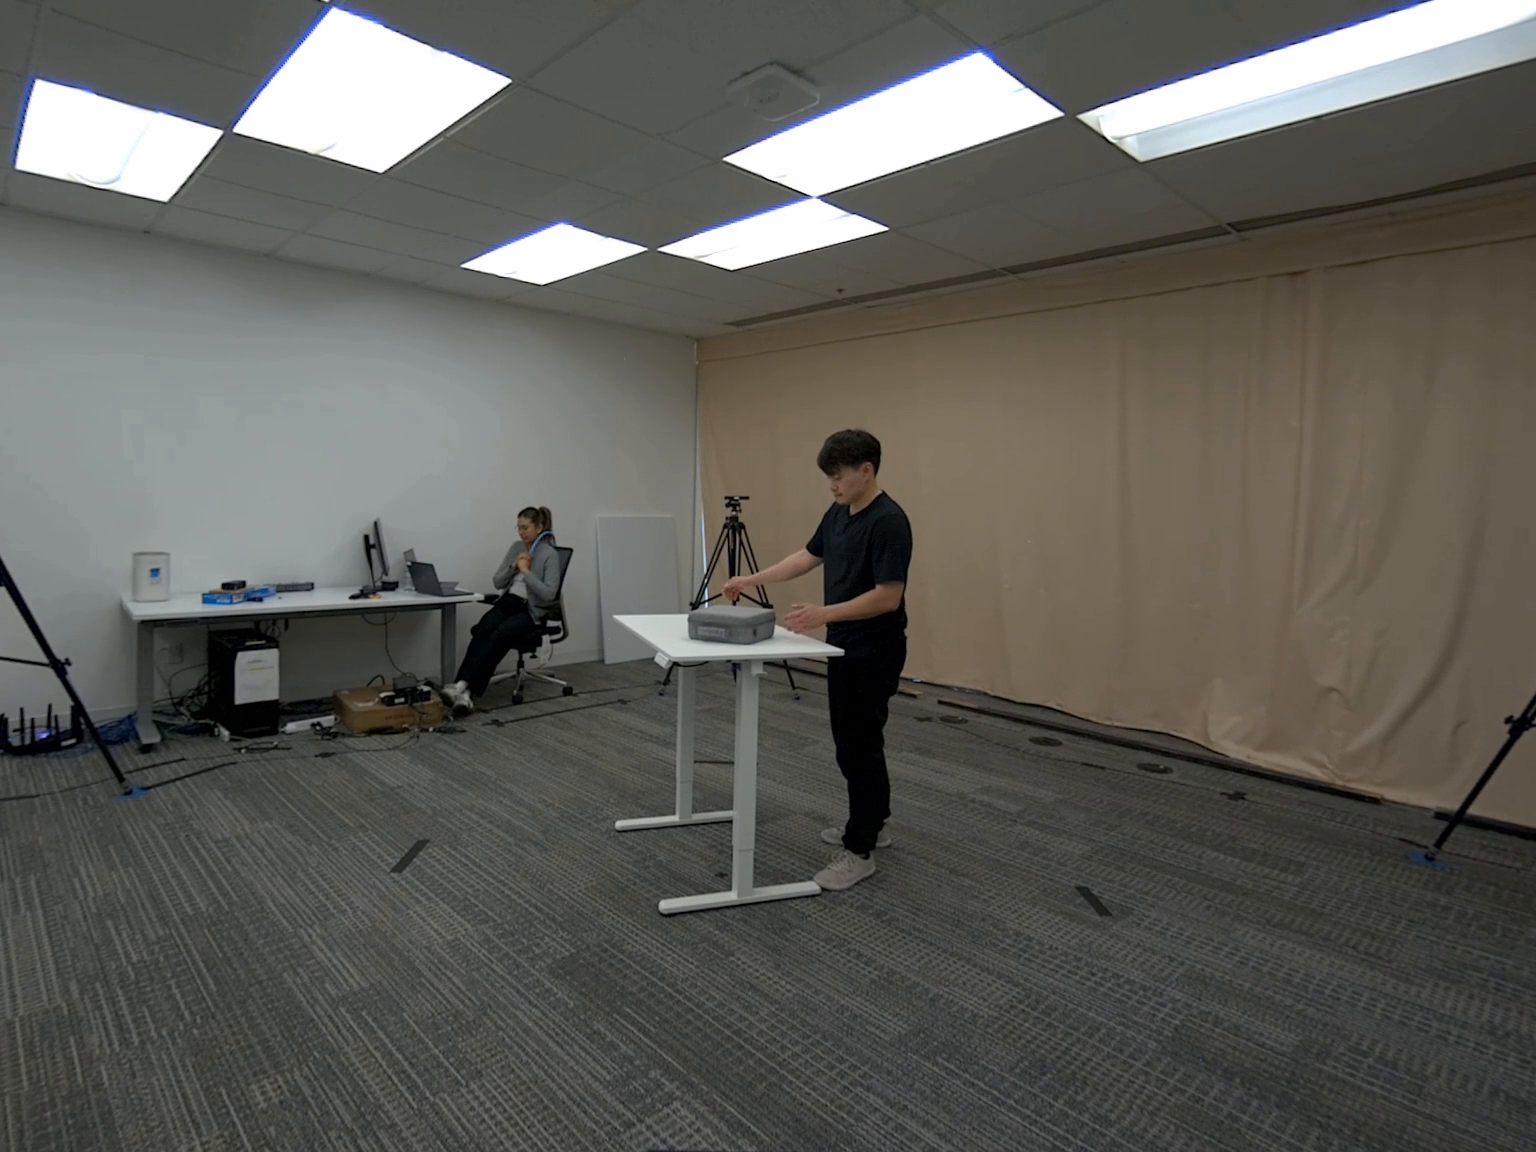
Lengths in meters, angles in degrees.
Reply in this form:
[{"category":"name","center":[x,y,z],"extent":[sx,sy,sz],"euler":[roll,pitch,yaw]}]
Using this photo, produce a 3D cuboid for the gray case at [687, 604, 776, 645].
[{"category":"gray case","center":[-0.134,0.175,3.040],"extent":[0.262,0.104,0.256],"euler":[5,6,27]}]
